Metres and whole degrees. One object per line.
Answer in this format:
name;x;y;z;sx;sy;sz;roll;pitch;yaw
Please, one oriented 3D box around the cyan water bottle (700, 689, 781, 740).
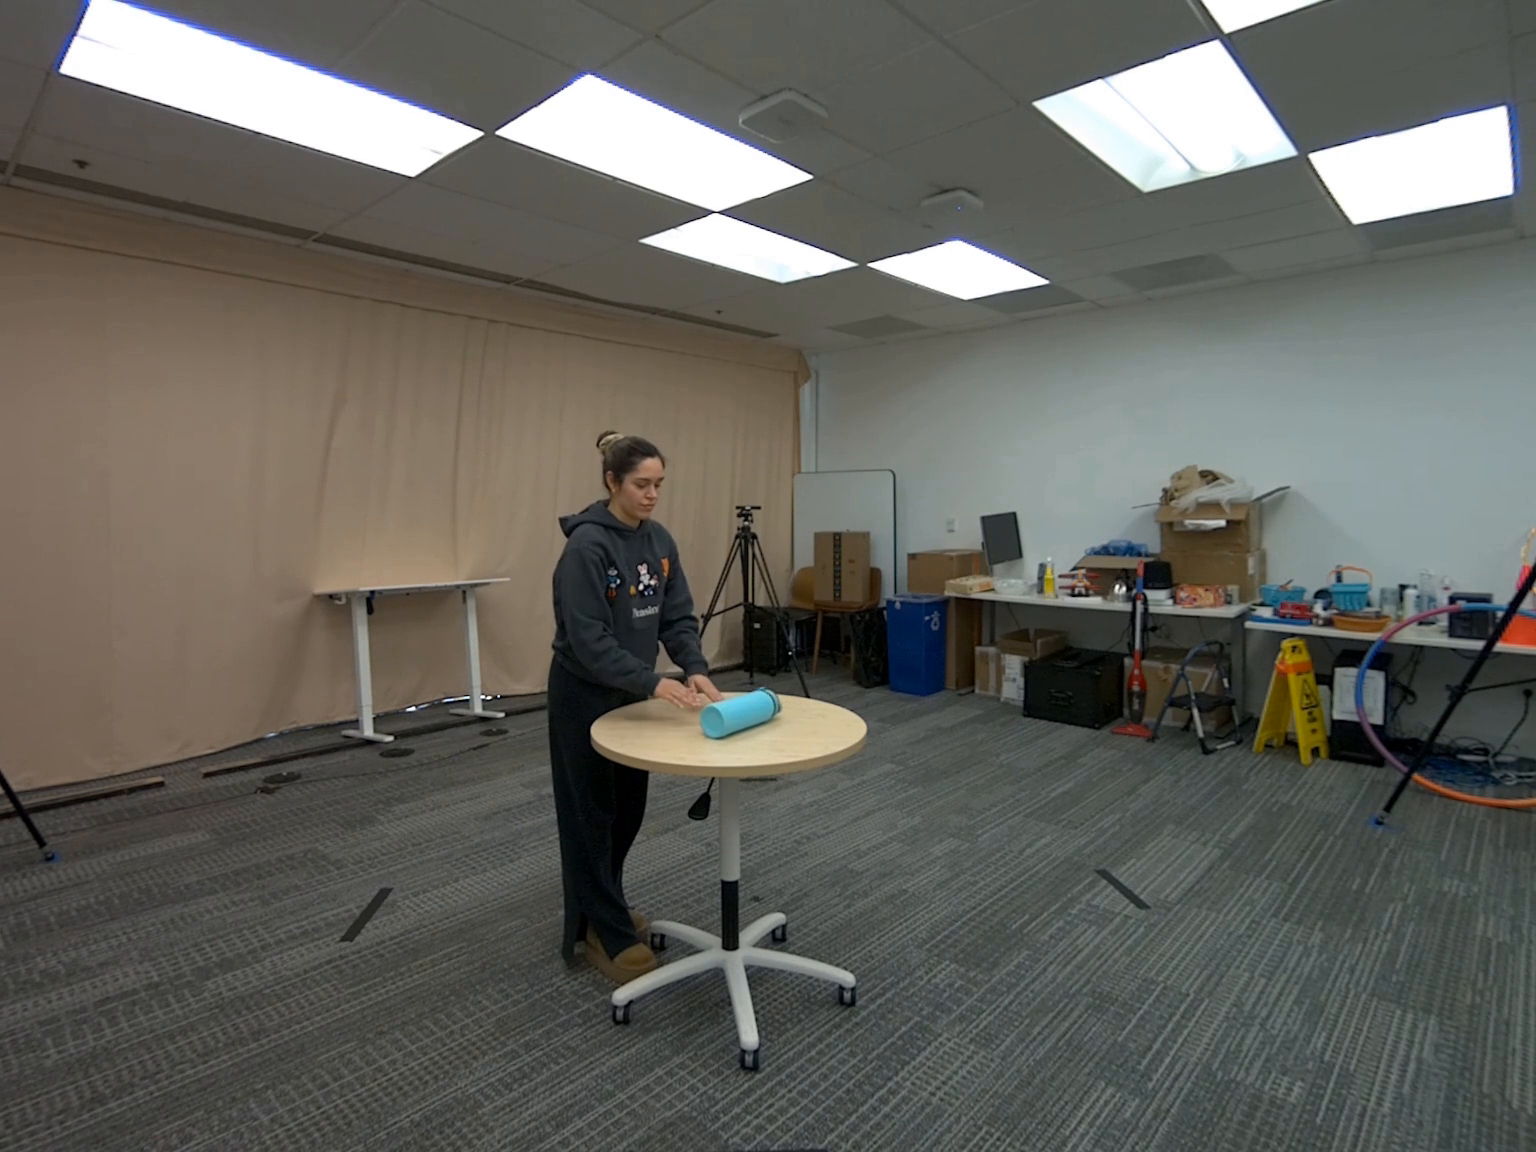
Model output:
cyan water bottle;-0.060;0.369;2.317;0.095;0.092;0.275;3;7;40
